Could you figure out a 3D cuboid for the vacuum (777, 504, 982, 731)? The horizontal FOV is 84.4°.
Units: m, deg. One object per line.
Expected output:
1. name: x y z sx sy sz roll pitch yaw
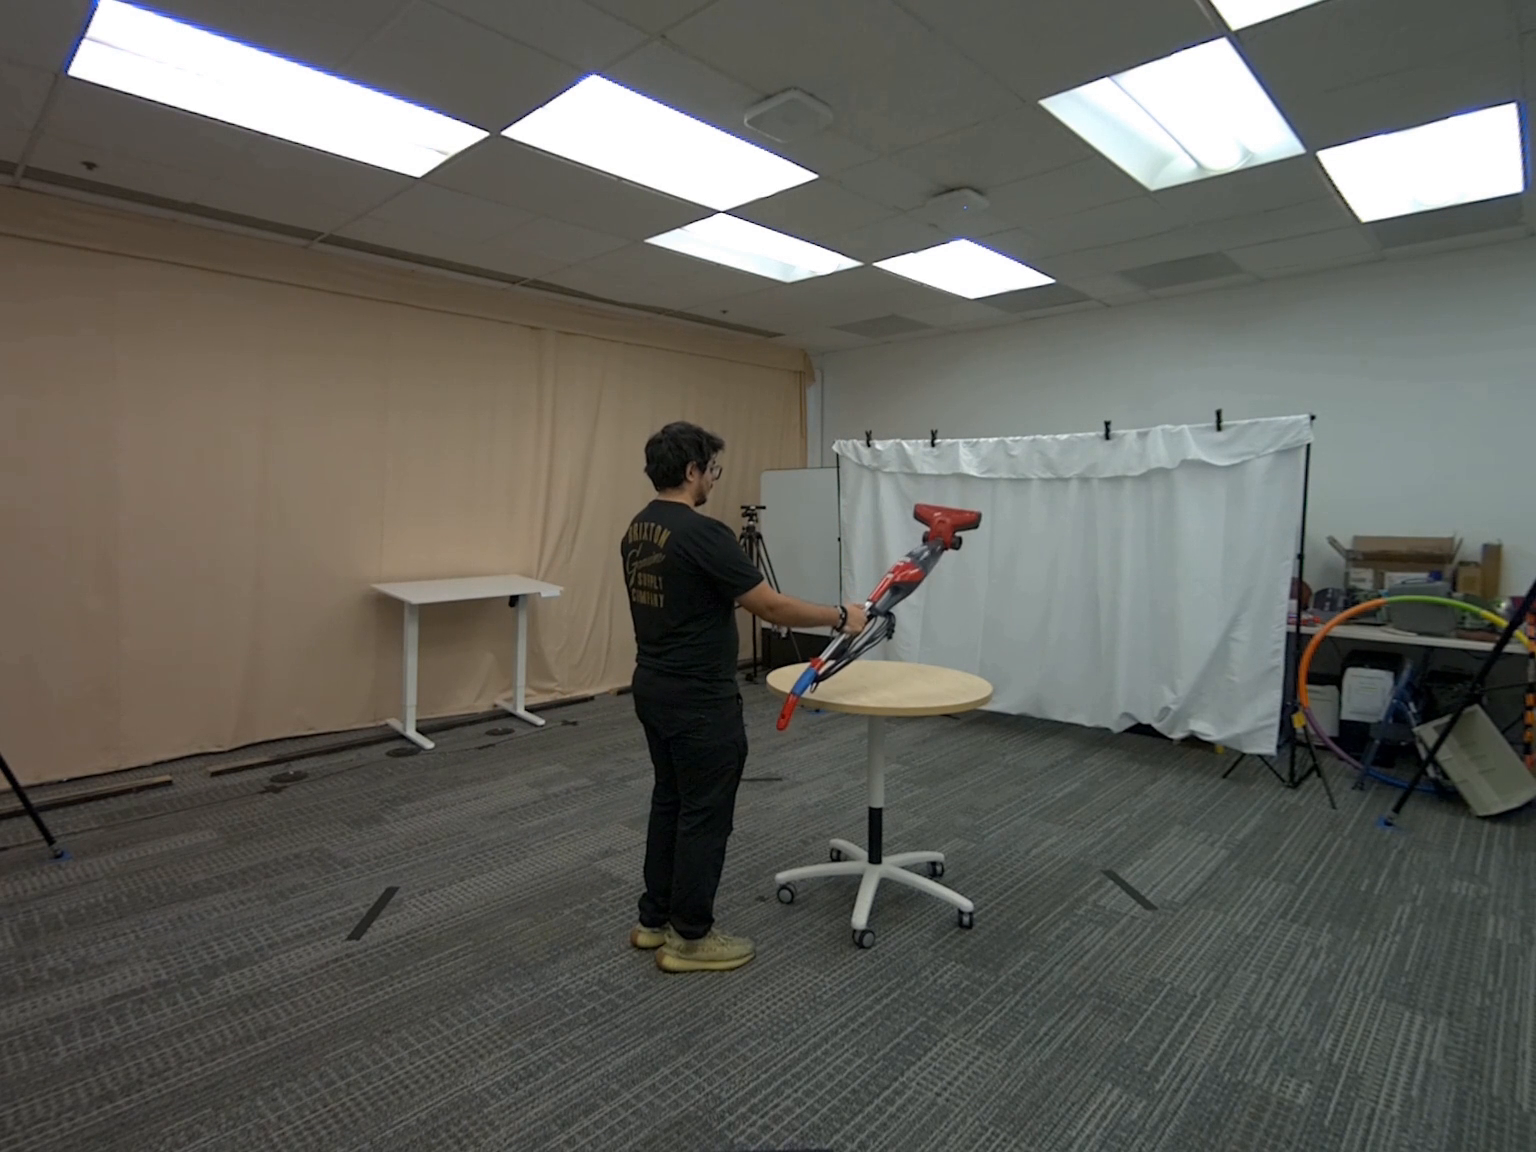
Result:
1. vacuum: 0.362 0.125 2.710 0.261 0.140 1.040 11 44 38
